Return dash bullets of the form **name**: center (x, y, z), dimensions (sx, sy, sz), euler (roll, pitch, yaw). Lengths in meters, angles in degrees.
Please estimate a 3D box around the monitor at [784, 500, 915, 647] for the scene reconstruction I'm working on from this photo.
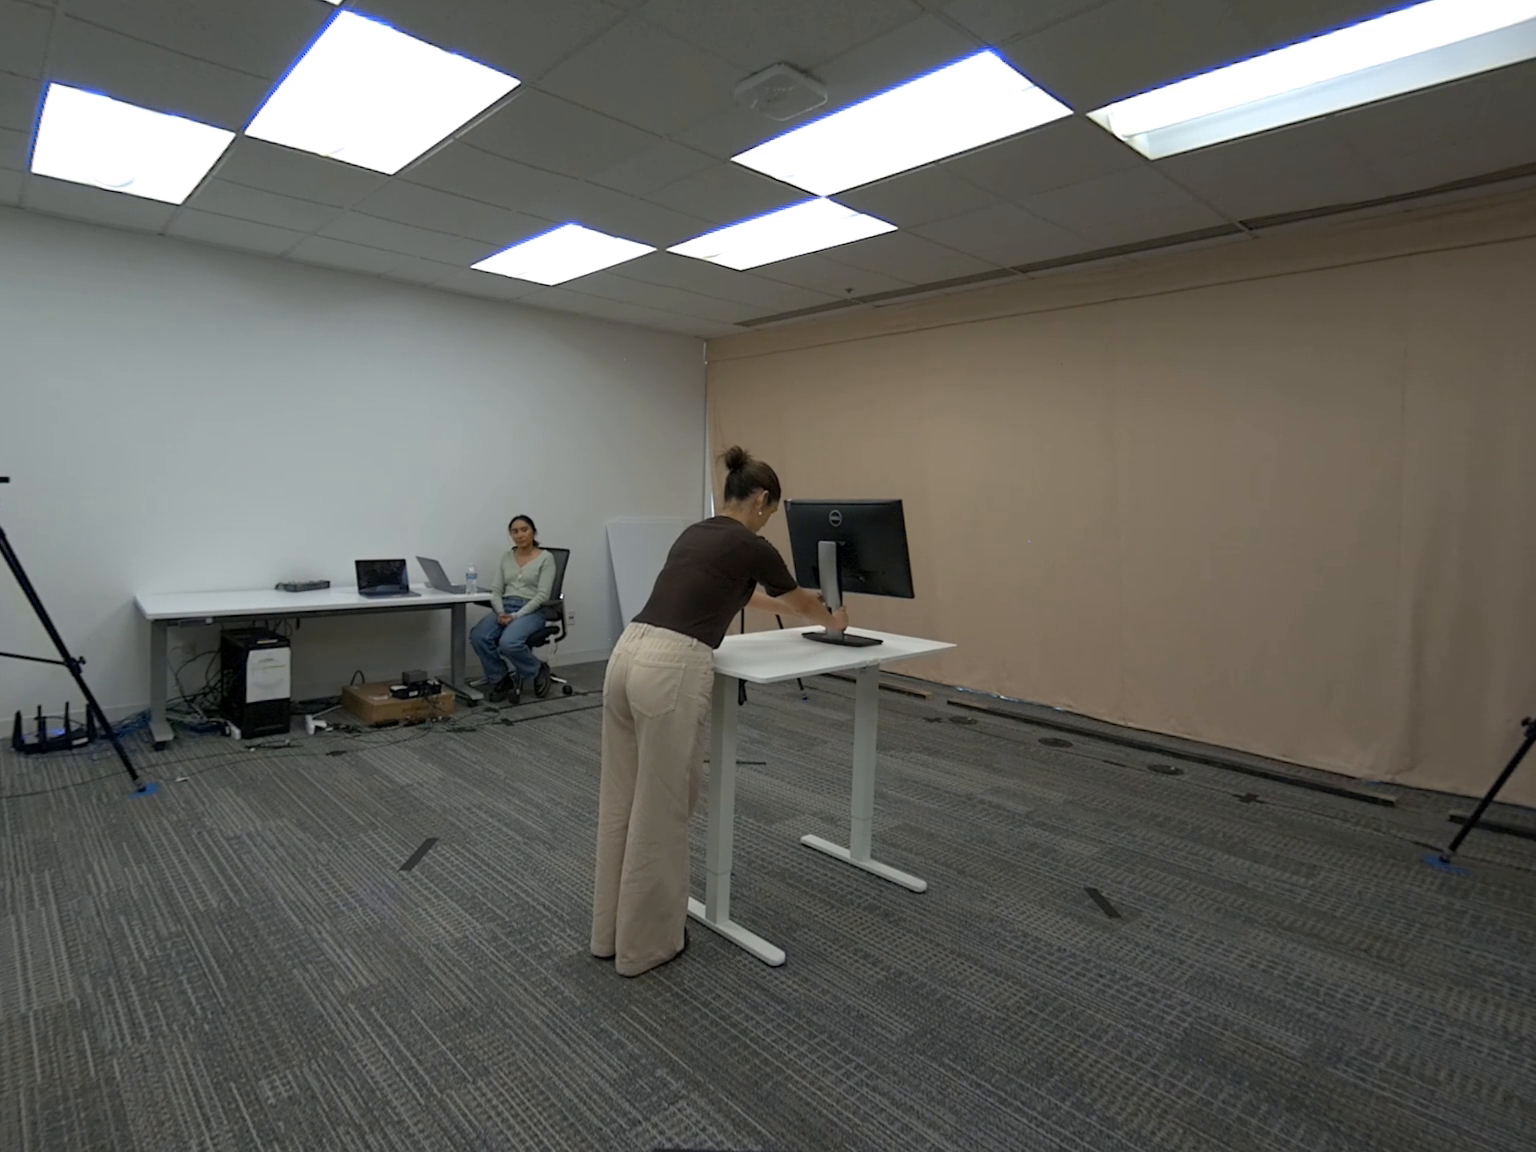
- **monitor**: center (0.259, -0.019, 3.046), dimensions (0.543, 0.516, 0.170), euler (3, 1, 45)
